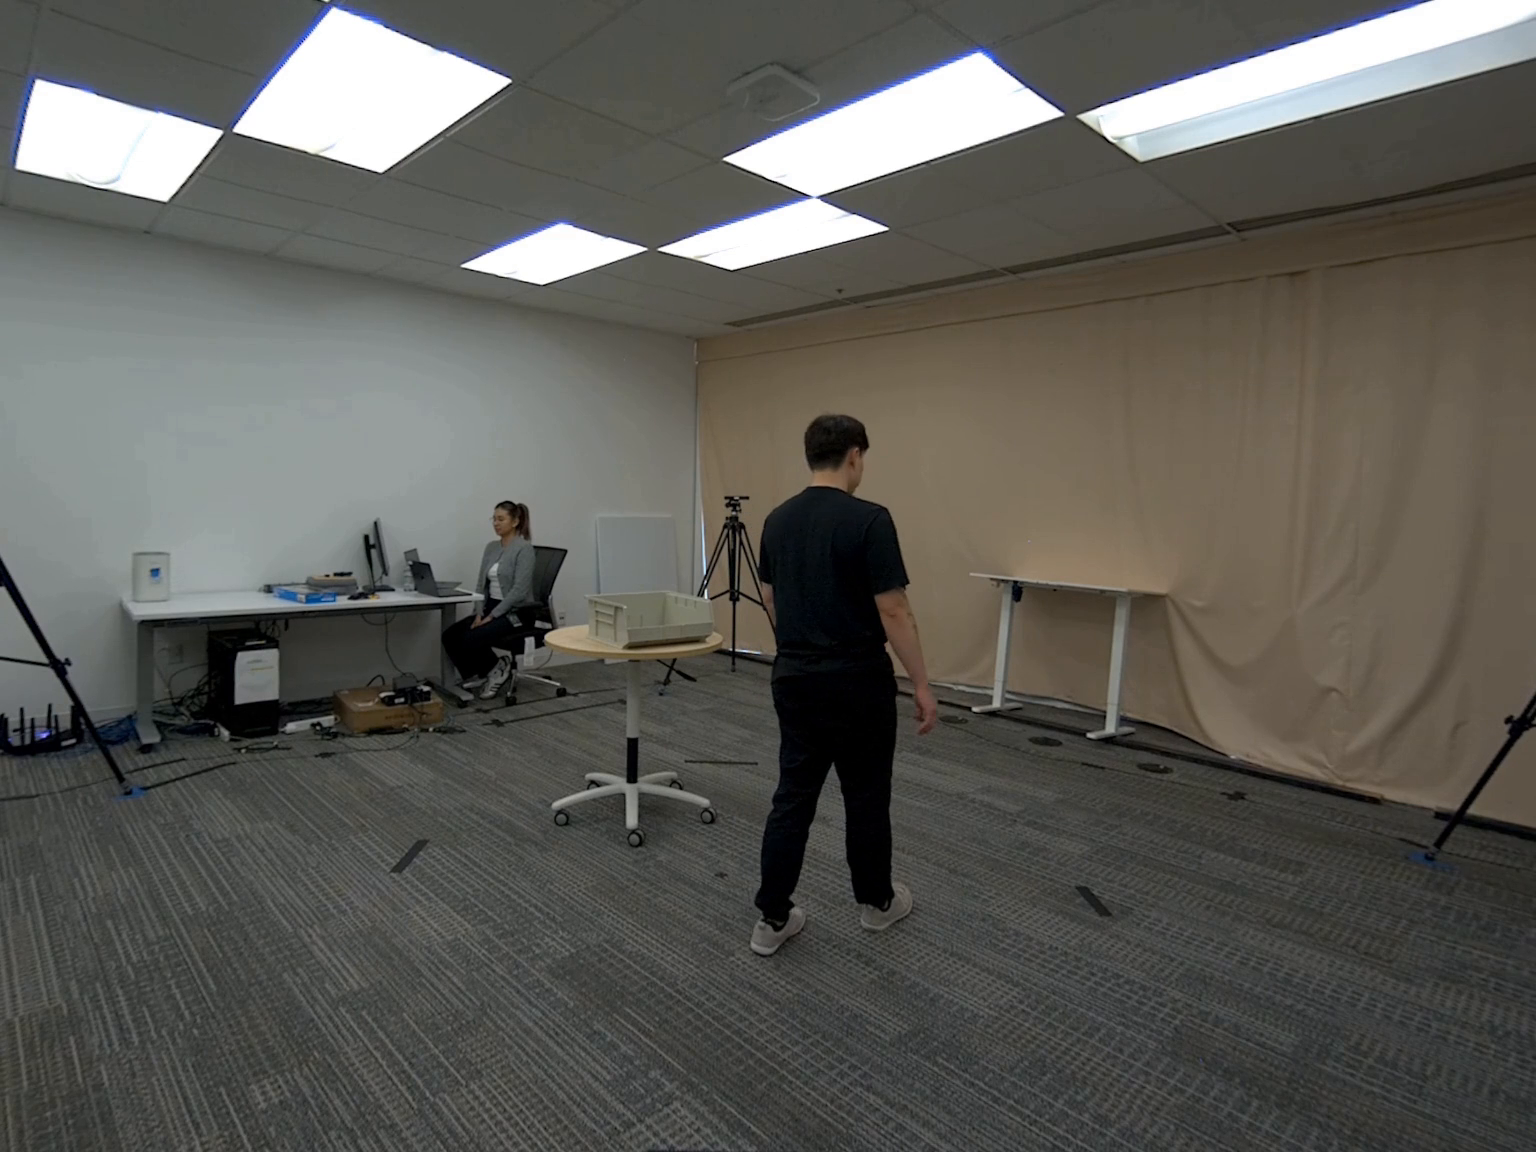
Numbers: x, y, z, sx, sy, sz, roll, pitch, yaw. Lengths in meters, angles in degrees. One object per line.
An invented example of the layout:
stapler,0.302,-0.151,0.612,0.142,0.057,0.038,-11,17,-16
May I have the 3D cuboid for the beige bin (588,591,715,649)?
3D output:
beige bin,-0.508,0.185,3.560,0.413,0.188,0.387,-3,6,-37
